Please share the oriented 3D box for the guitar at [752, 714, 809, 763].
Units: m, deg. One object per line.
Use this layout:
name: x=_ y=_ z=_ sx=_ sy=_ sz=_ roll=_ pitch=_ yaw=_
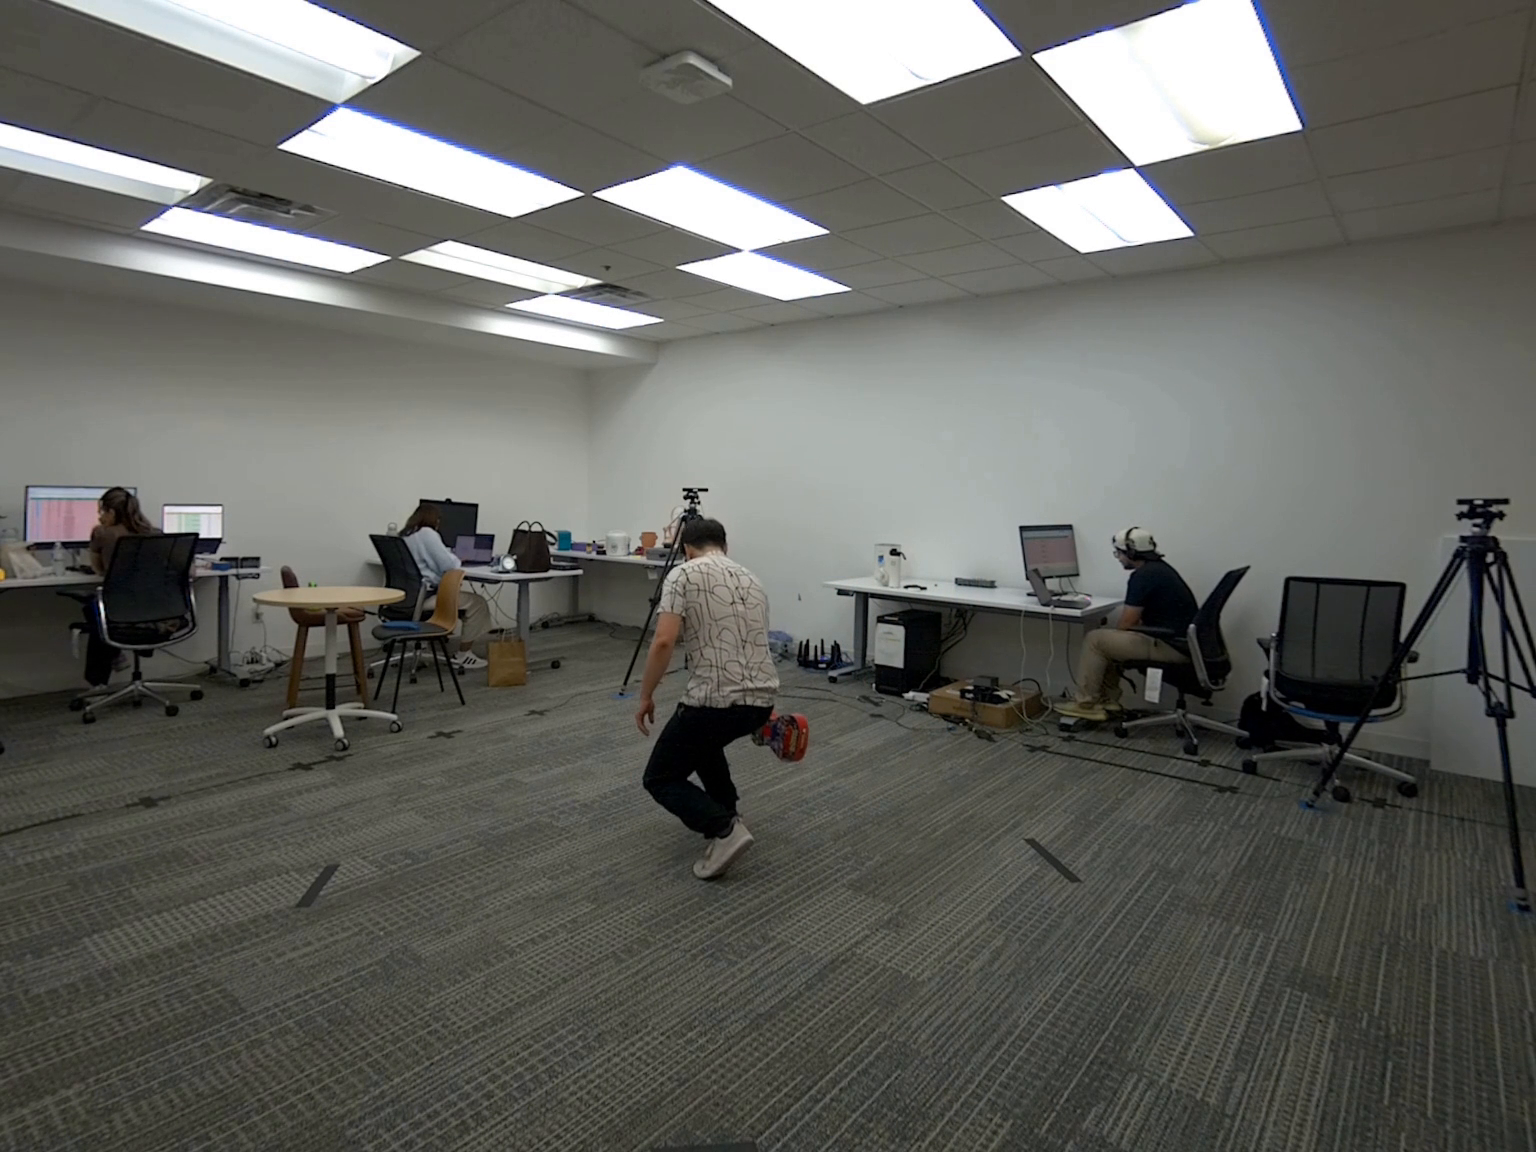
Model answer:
guitar: x=-0.047 y=0.607 z=3.592 sx=0.068 sy=0.192 sz=0.518 roll=9 pitch=10 yaw=-45
